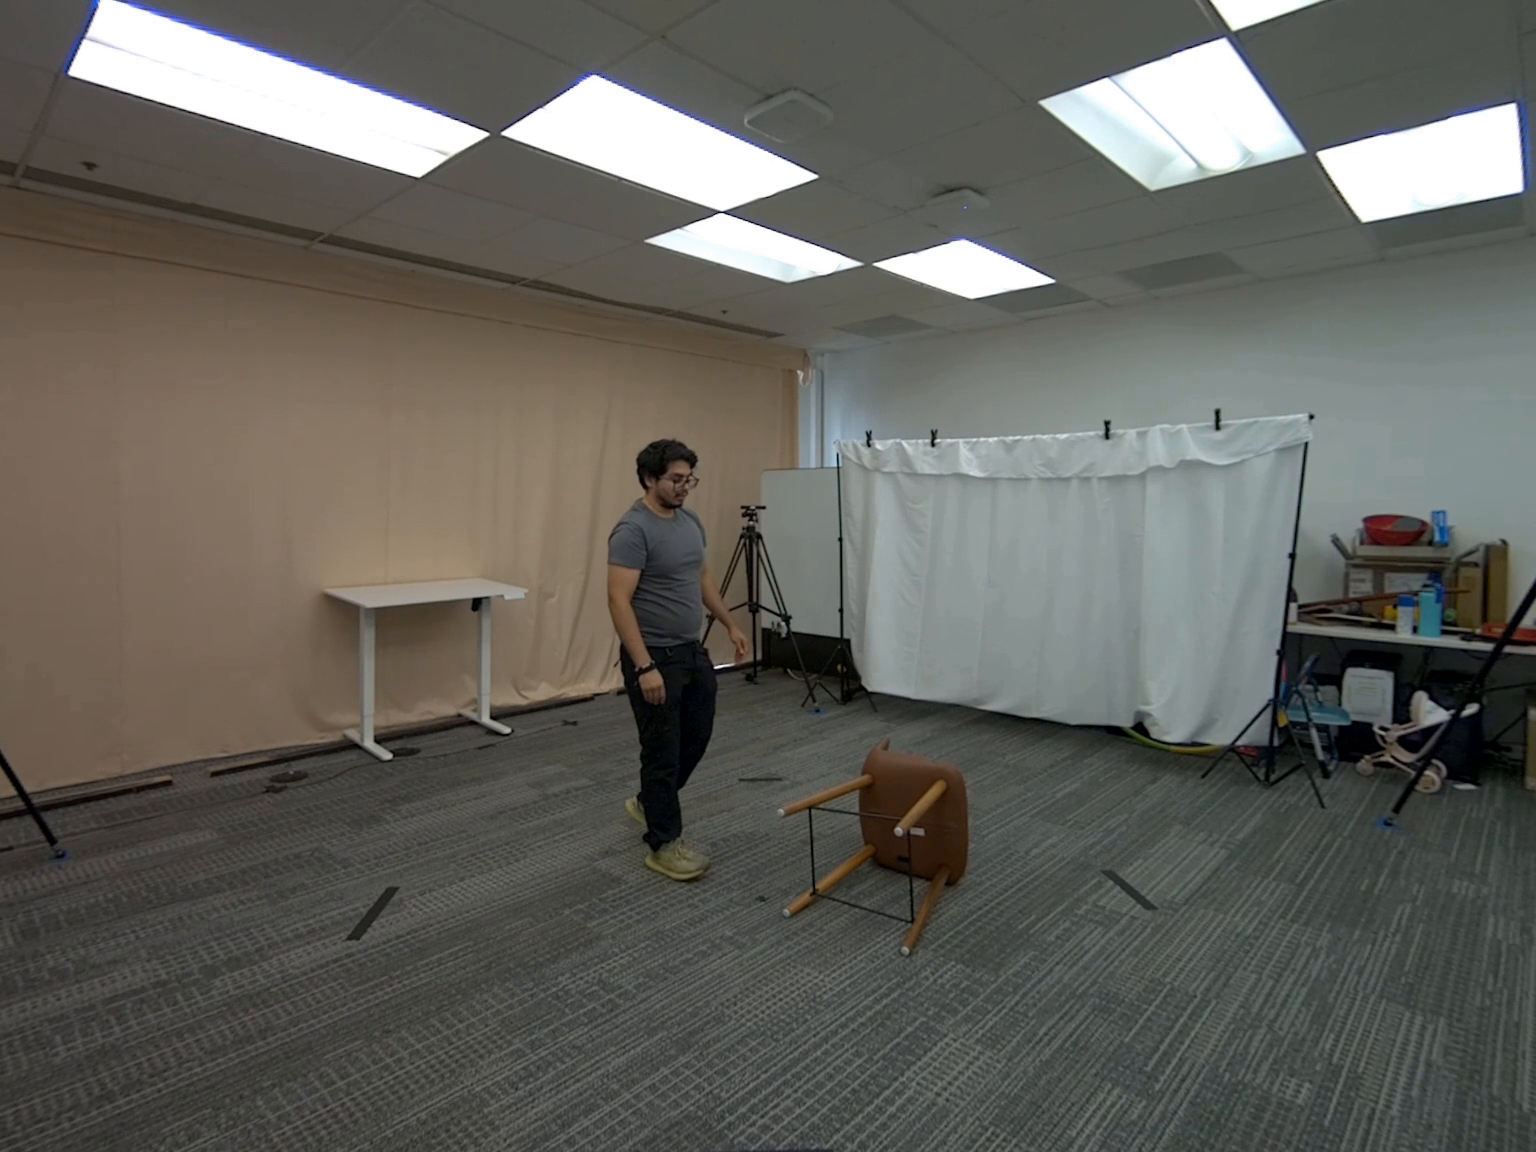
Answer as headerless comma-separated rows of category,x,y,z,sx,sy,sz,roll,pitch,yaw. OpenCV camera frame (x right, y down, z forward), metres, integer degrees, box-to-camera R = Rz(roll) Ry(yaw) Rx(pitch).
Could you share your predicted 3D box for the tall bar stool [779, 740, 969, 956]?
tall bar stool,0.456,0.921,3.070,0.481,0.455,0.867,-1,6,31
